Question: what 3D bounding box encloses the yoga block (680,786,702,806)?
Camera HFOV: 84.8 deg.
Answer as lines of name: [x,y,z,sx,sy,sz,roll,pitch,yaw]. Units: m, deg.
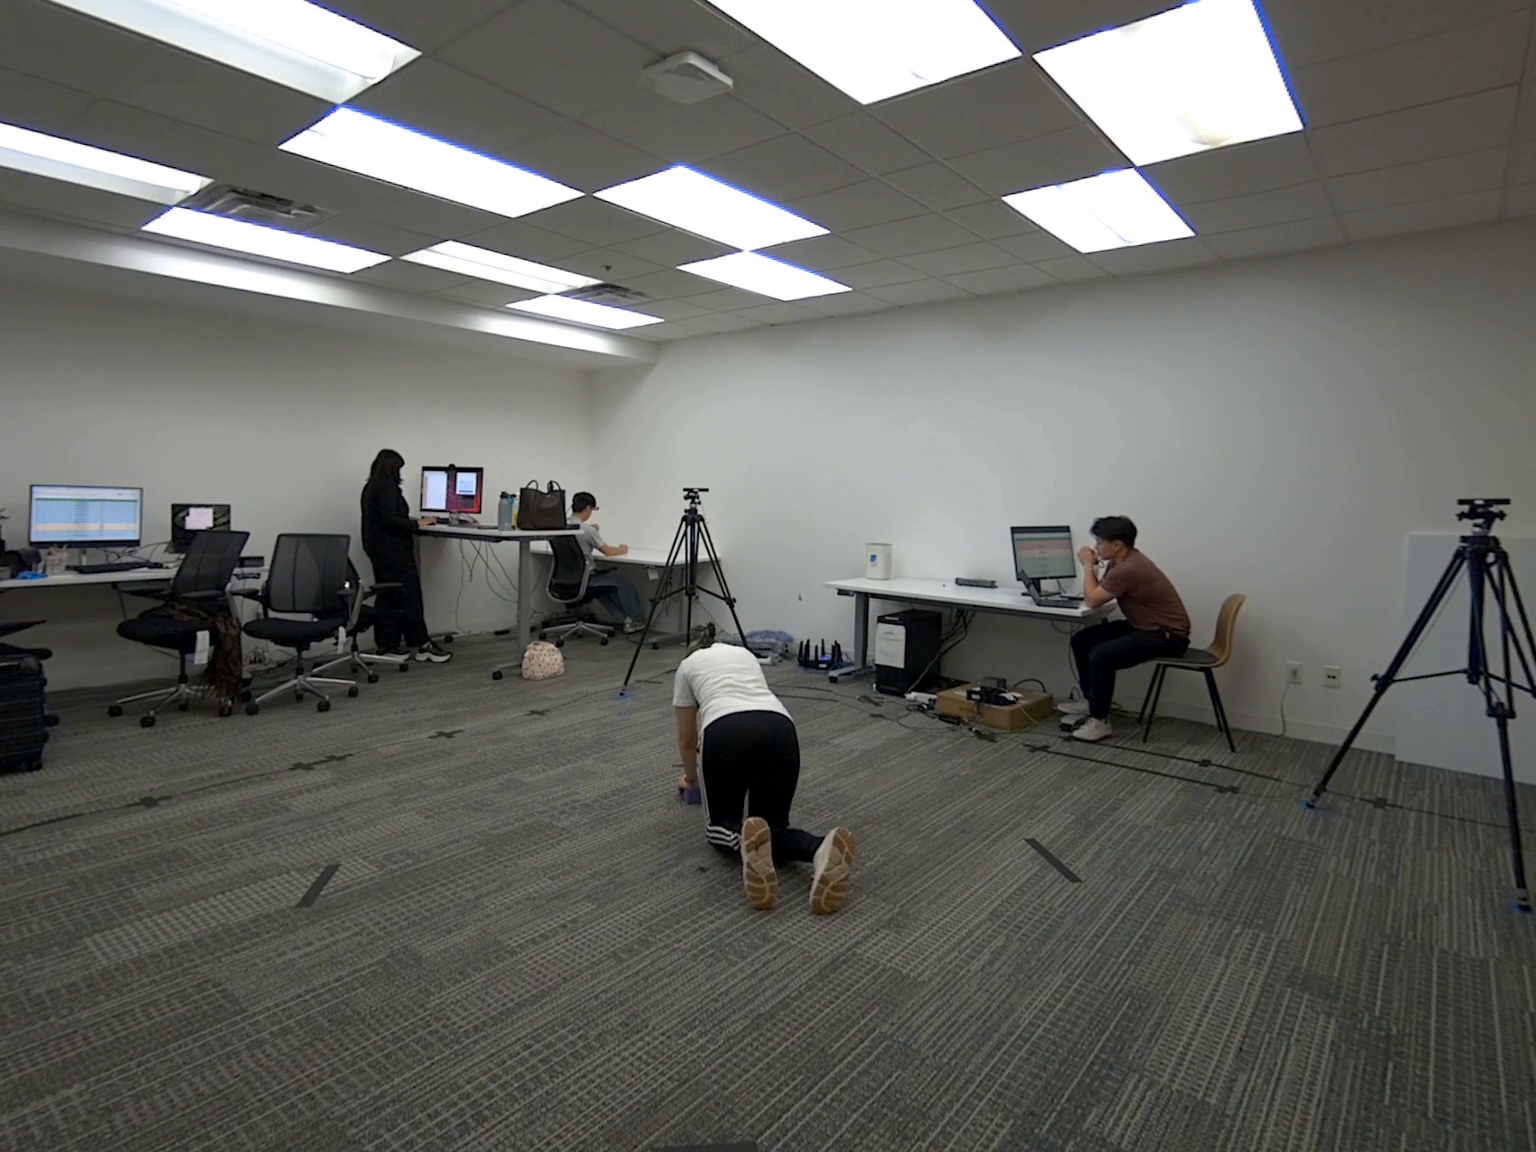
yoga block: [-0.275,0.957,3.837,0.226,0.076,0.152,-2,5,-16]
